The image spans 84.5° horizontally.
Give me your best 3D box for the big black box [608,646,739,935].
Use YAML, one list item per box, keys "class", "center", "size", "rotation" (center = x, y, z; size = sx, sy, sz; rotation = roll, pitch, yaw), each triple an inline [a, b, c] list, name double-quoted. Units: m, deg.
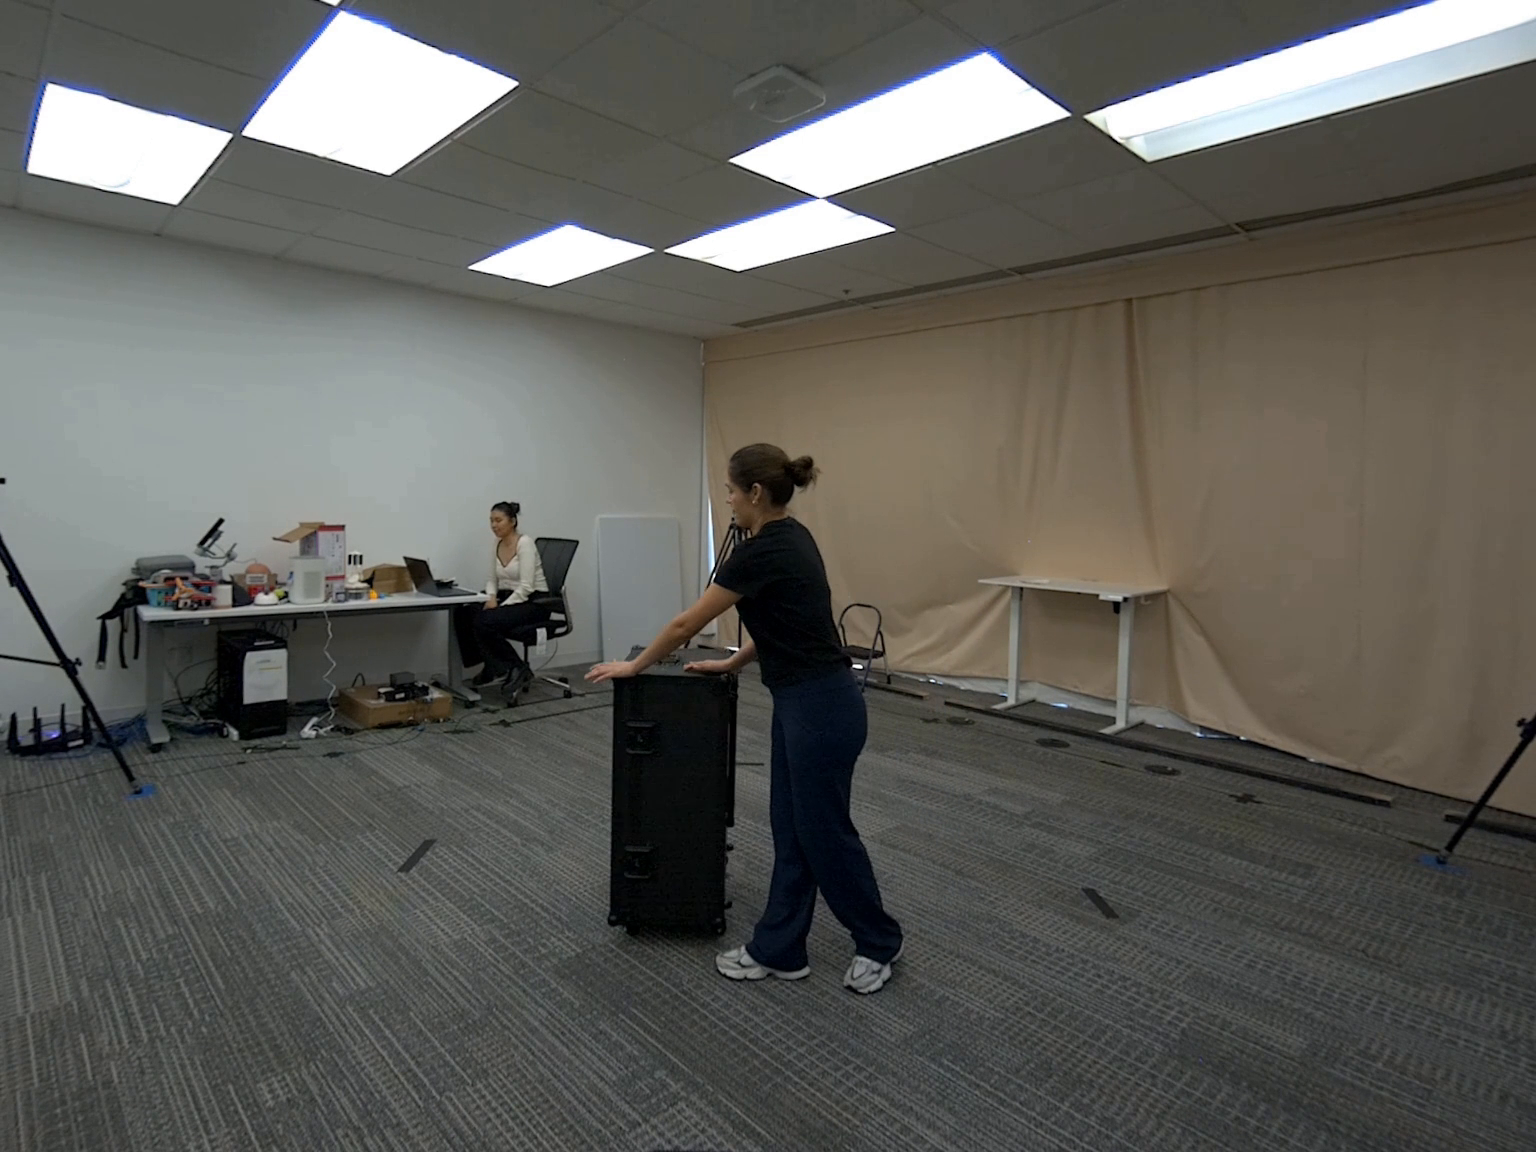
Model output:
- class: "big black box"
  center: [-0.301, 0.704, 2.798]
  size: [0.396, 0.860, 0.522]
  rotation: [2, 3, -1]
